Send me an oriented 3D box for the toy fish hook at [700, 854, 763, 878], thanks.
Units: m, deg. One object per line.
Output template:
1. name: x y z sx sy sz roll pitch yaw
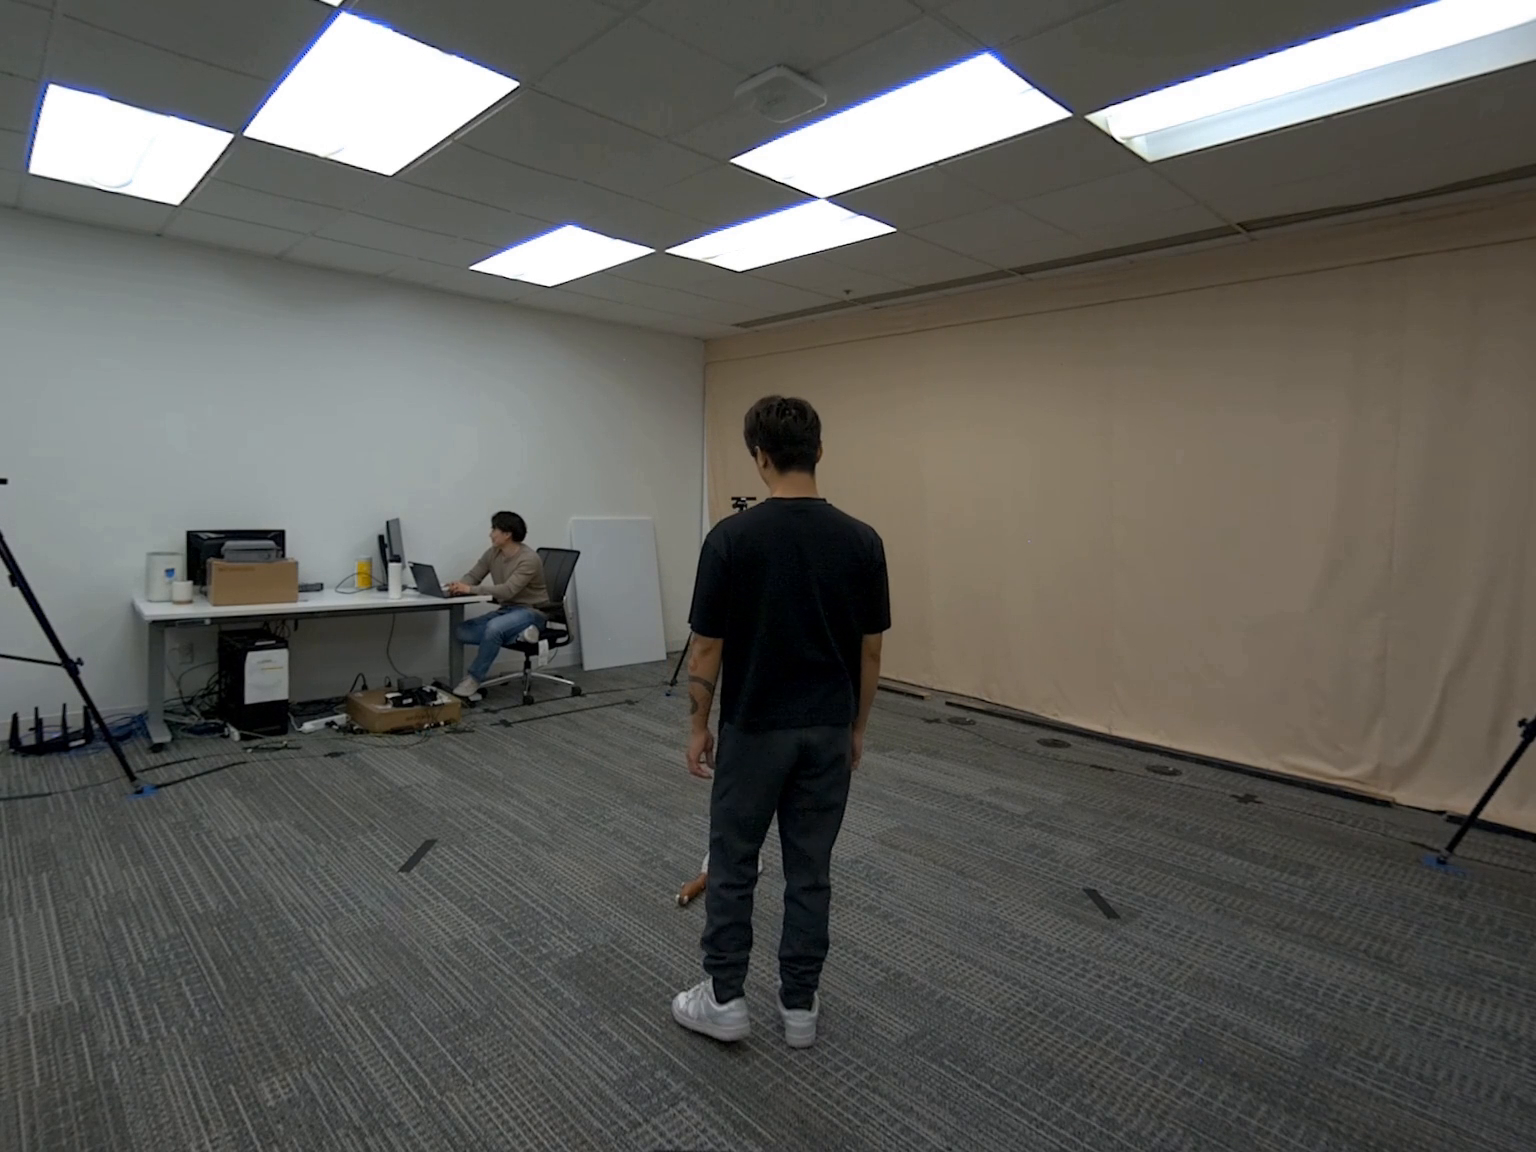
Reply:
1. toy fish hook: -0.170 1.091 3.059 0.228 0.048 0.500 1 5 20
